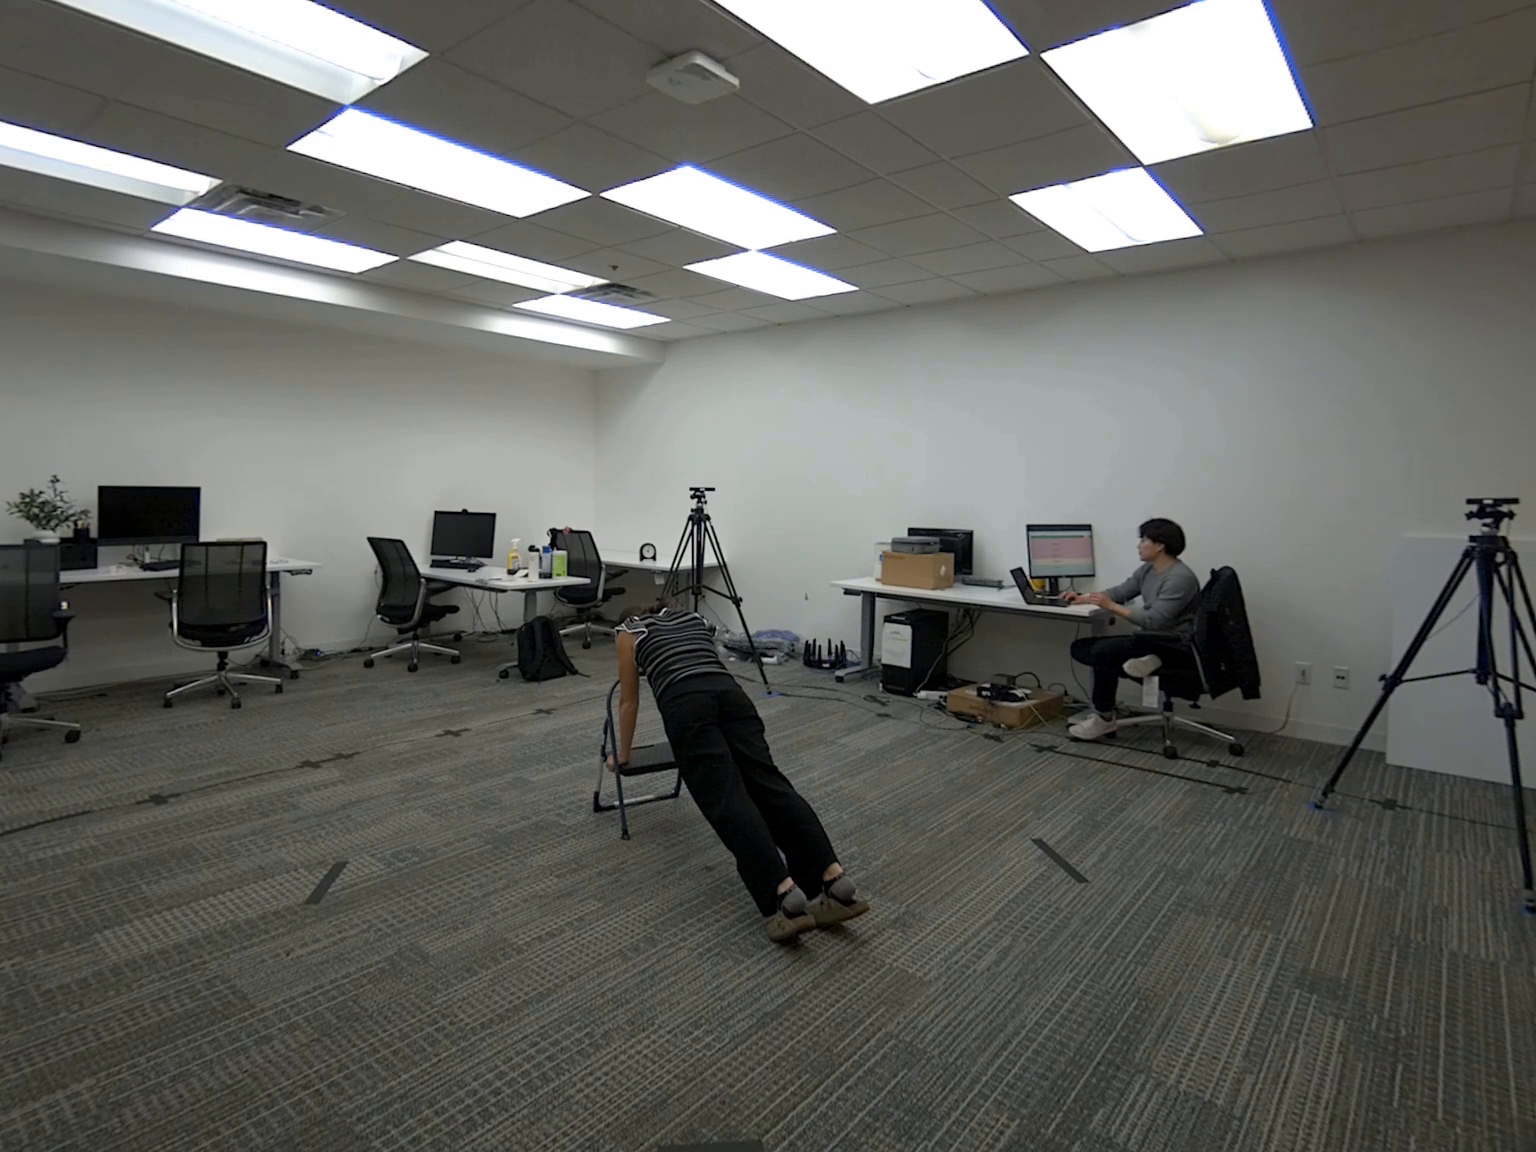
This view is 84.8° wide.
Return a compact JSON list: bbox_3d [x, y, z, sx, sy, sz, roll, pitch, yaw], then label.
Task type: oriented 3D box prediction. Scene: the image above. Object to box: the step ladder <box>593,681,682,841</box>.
[{"bbox_3d":[-0.496,0.714,3.593,0.418,0.605,0.360,-1,3,-33],"label":"step ladder"}]
